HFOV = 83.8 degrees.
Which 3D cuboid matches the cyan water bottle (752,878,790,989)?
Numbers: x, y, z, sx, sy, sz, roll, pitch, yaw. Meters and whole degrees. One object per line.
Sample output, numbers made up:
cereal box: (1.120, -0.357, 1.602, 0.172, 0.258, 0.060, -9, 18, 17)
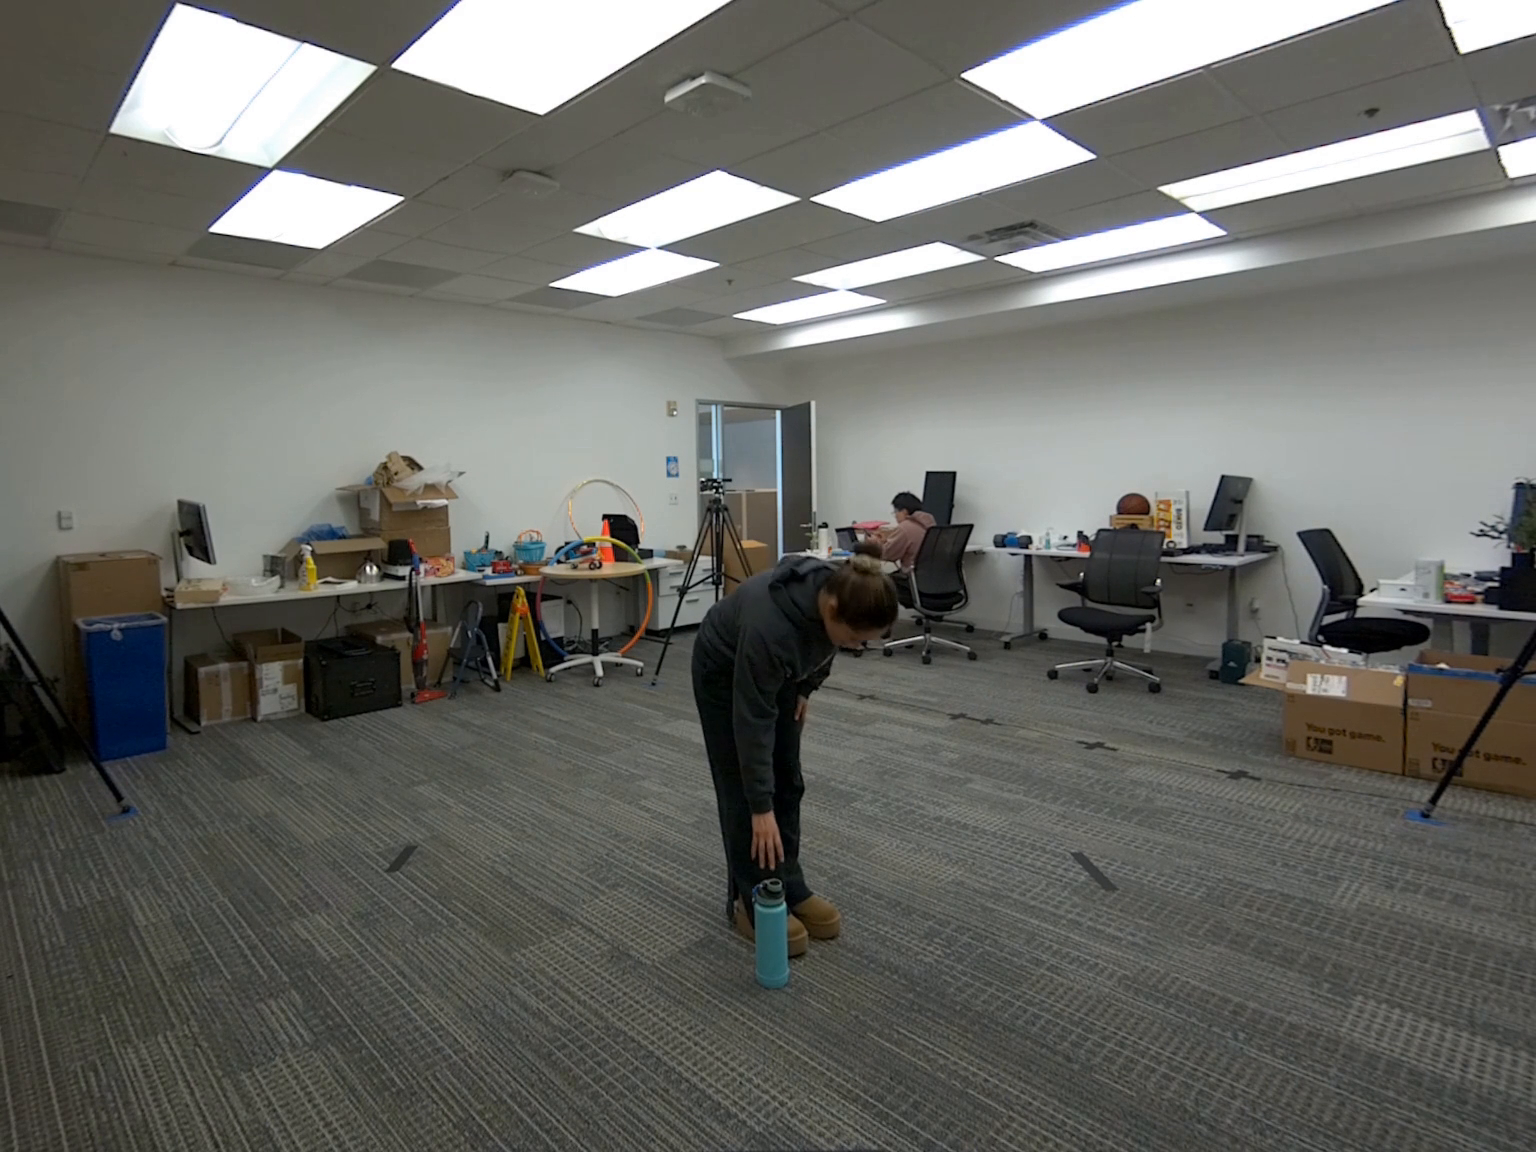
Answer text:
cyan water bottle: (0.012, 0.988, 2.362, 0.092, 0.282, 0.093, -4, 3, -1)
